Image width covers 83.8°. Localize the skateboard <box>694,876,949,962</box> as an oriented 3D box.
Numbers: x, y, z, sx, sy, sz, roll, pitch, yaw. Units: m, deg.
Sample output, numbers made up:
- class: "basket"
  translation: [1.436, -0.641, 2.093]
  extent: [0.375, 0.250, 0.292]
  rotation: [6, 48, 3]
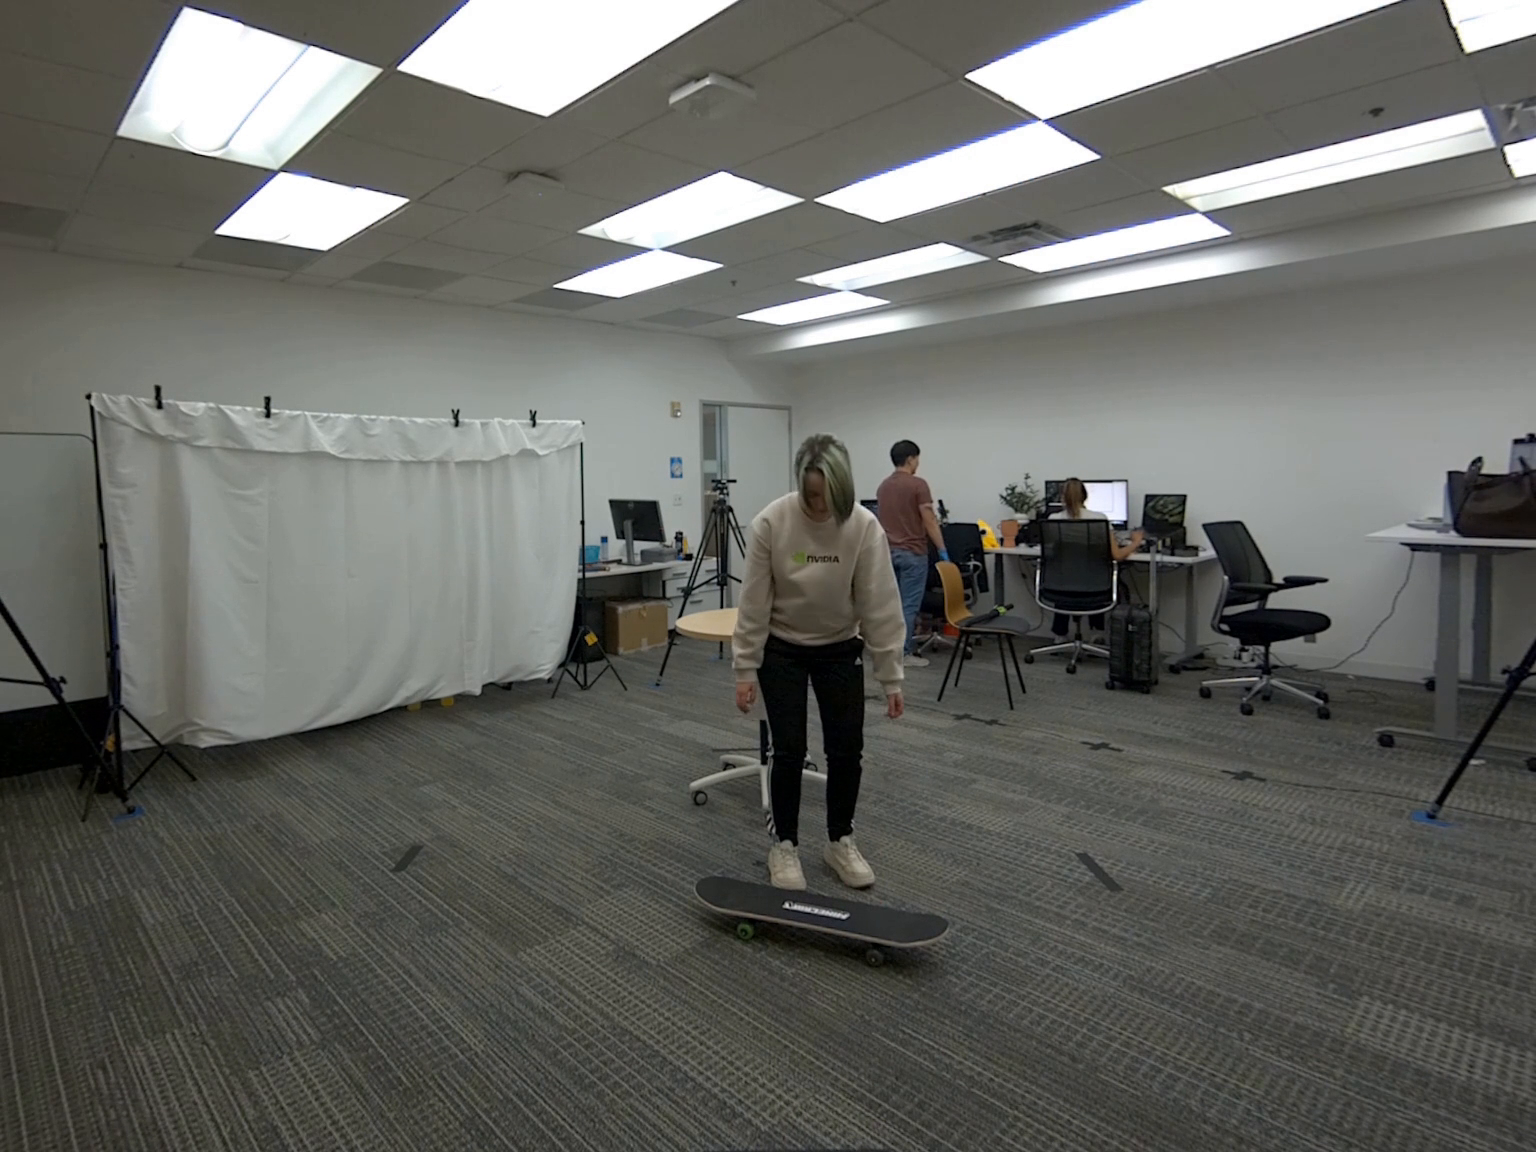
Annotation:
- class: "skateboard"
  translation: [0.152, 1.045, 2.590]
  extent: [0.802, 0.110, 0.190]
  rotation: [1, 7, 23]
